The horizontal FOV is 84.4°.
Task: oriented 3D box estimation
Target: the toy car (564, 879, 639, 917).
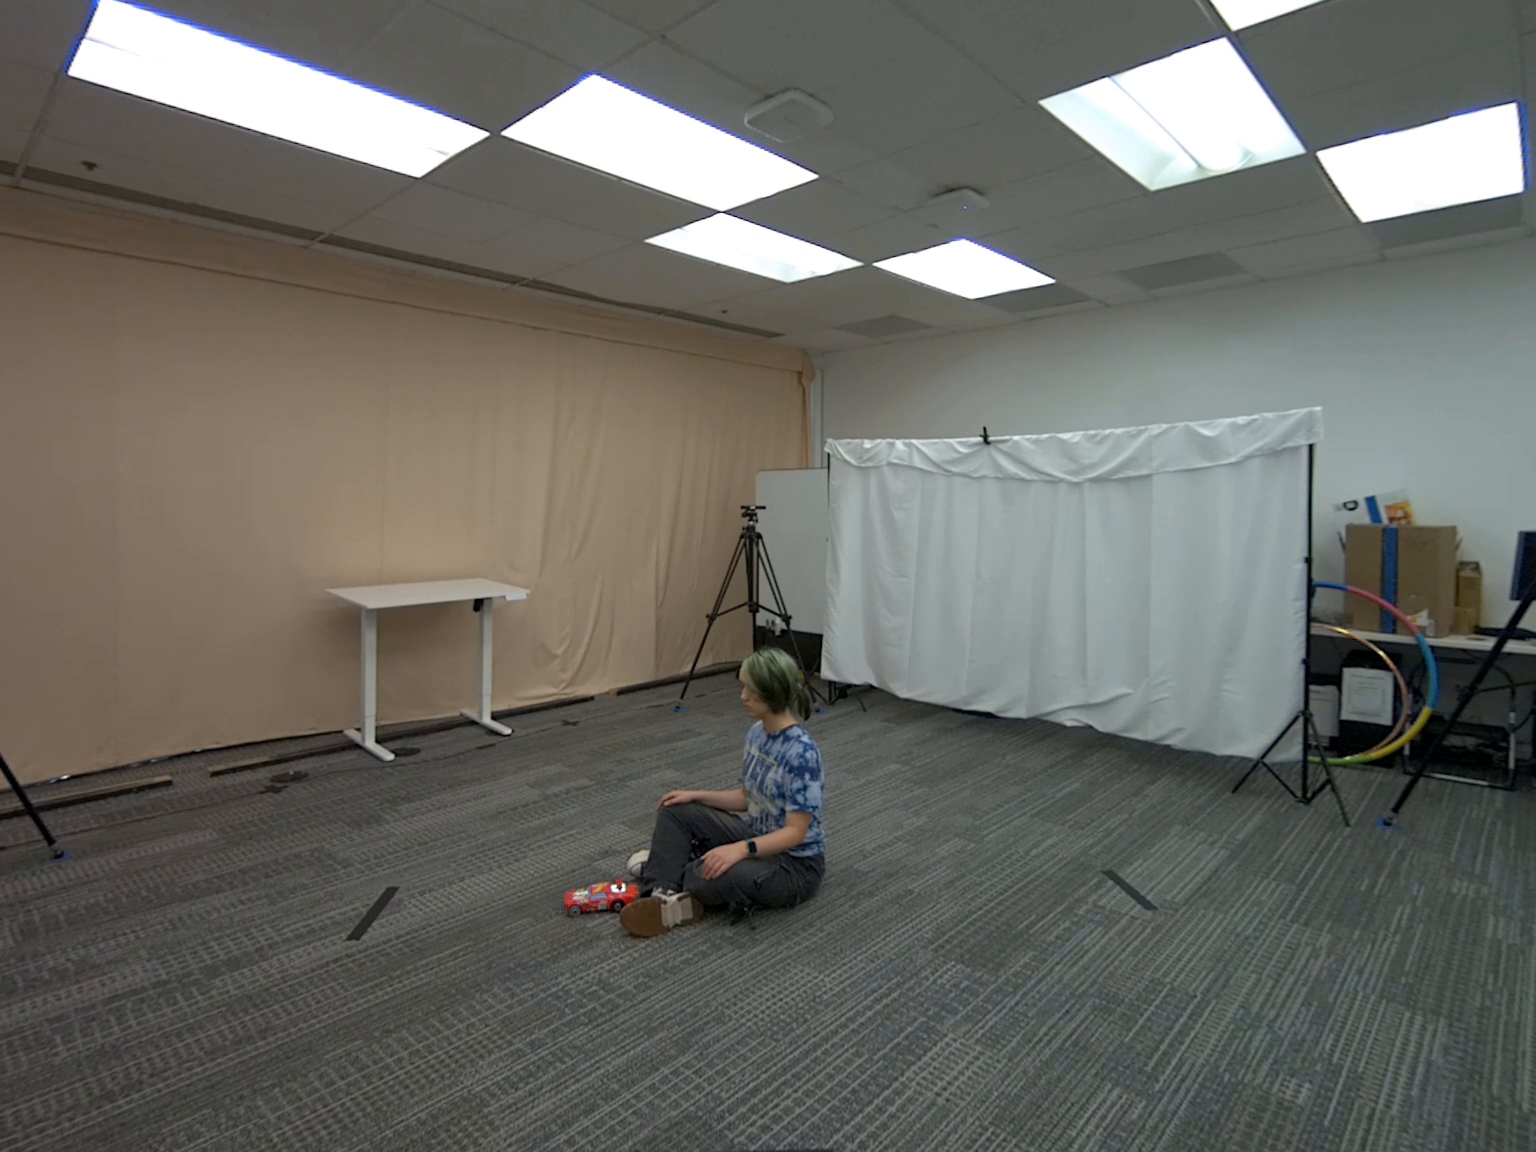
[{"bbox_3d":[-0.578,1.124,2.931,0.252,0.083,0.132,-13,5,-10],"label":"toy car"}]
